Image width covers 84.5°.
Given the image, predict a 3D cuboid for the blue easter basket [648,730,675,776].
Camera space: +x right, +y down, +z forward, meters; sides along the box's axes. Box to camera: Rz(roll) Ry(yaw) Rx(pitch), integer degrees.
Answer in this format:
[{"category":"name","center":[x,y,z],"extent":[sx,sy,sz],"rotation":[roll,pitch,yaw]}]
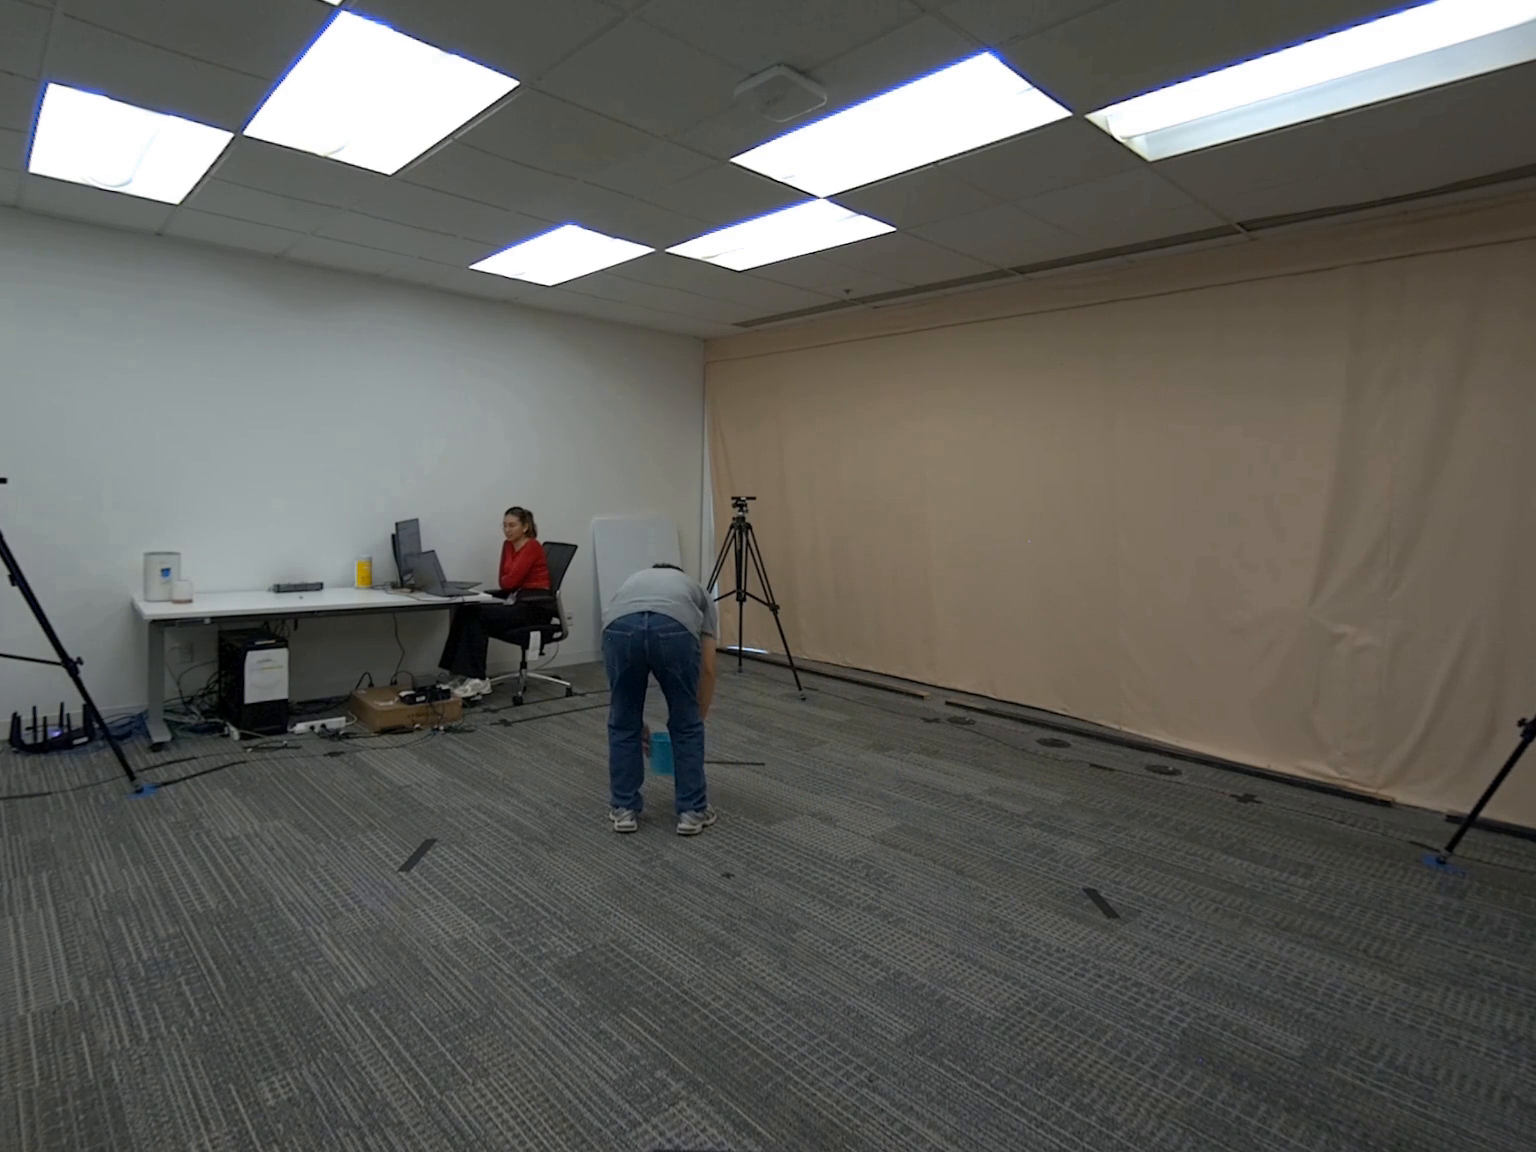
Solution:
[{"category":"blue easter basket","center":[-0.460,0.797,3.826],"extent":[0.243,0.156,0.243],"rotation":[1,-1,-1]}]
